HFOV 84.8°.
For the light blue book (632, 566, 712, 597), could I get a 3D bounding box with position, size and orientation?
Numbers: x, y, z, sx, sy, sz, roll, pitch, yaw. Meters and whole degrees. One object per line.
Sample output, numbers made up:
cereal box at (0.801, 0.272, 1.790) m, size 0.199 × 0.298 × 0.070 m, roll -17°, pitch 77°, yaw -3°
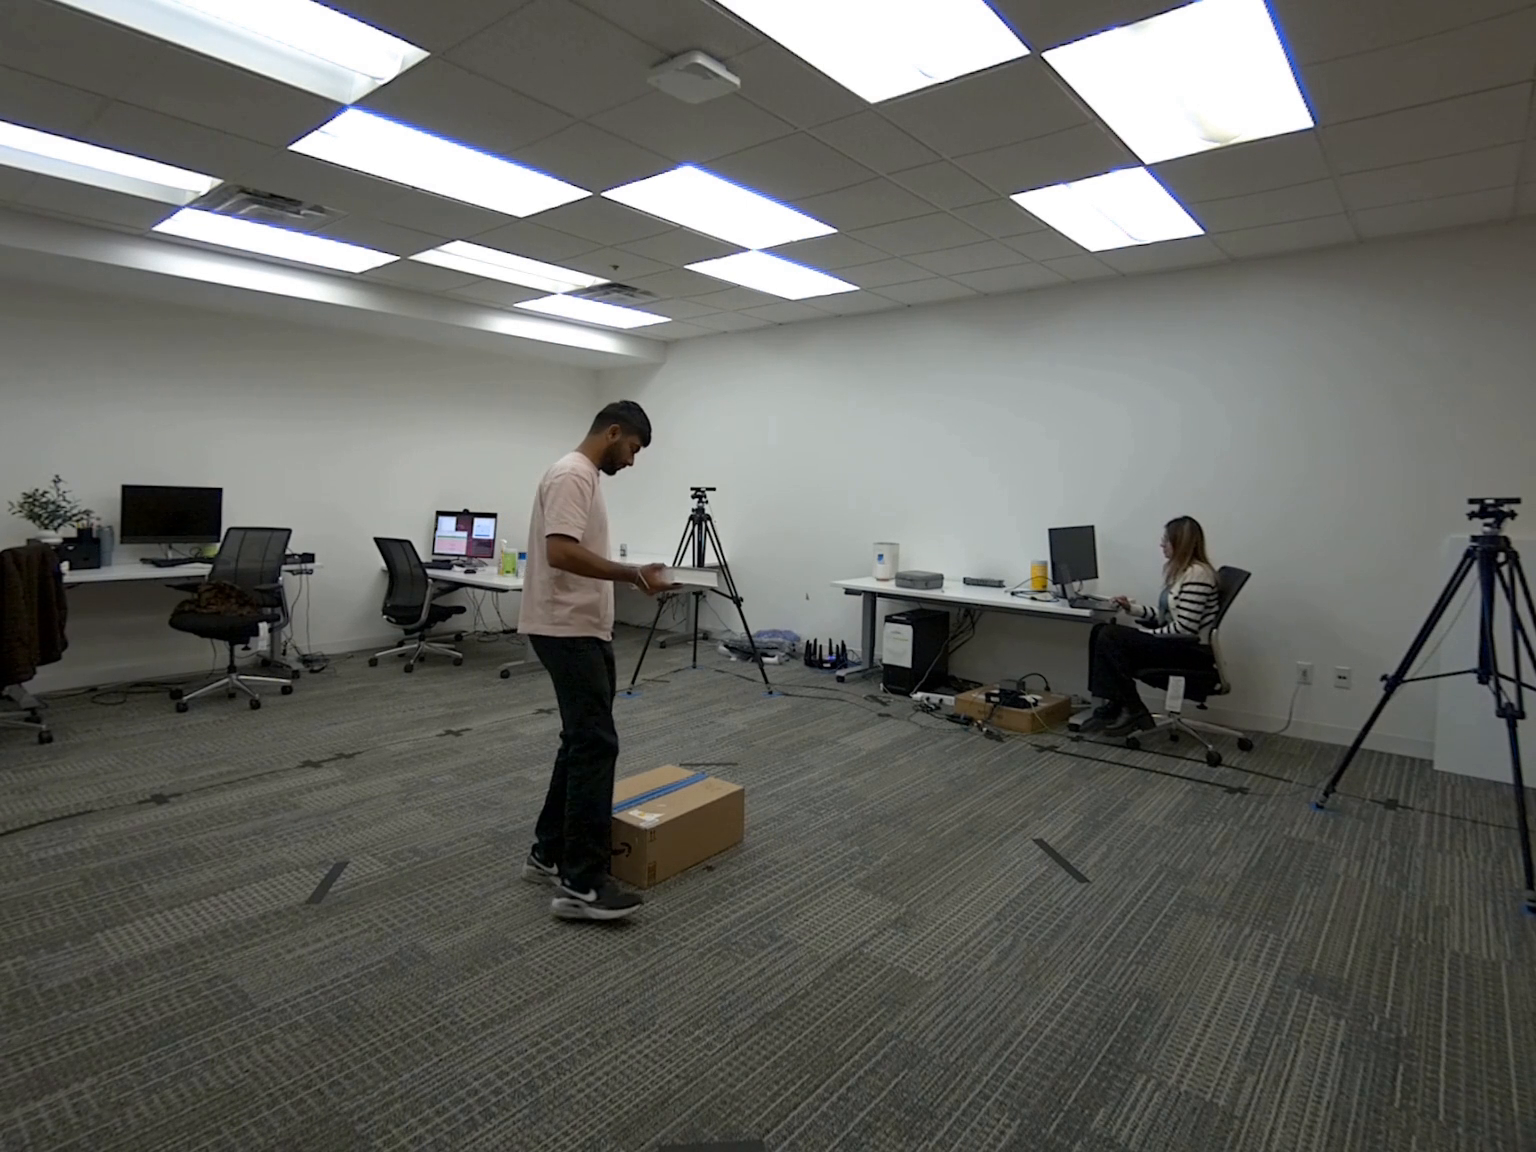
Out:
light blue book at (-0.331, 0.020, 2.903) m, size 0.194 × 0.059 × 0.254 m, roll -6°, pitch -7°, yaw 16°
